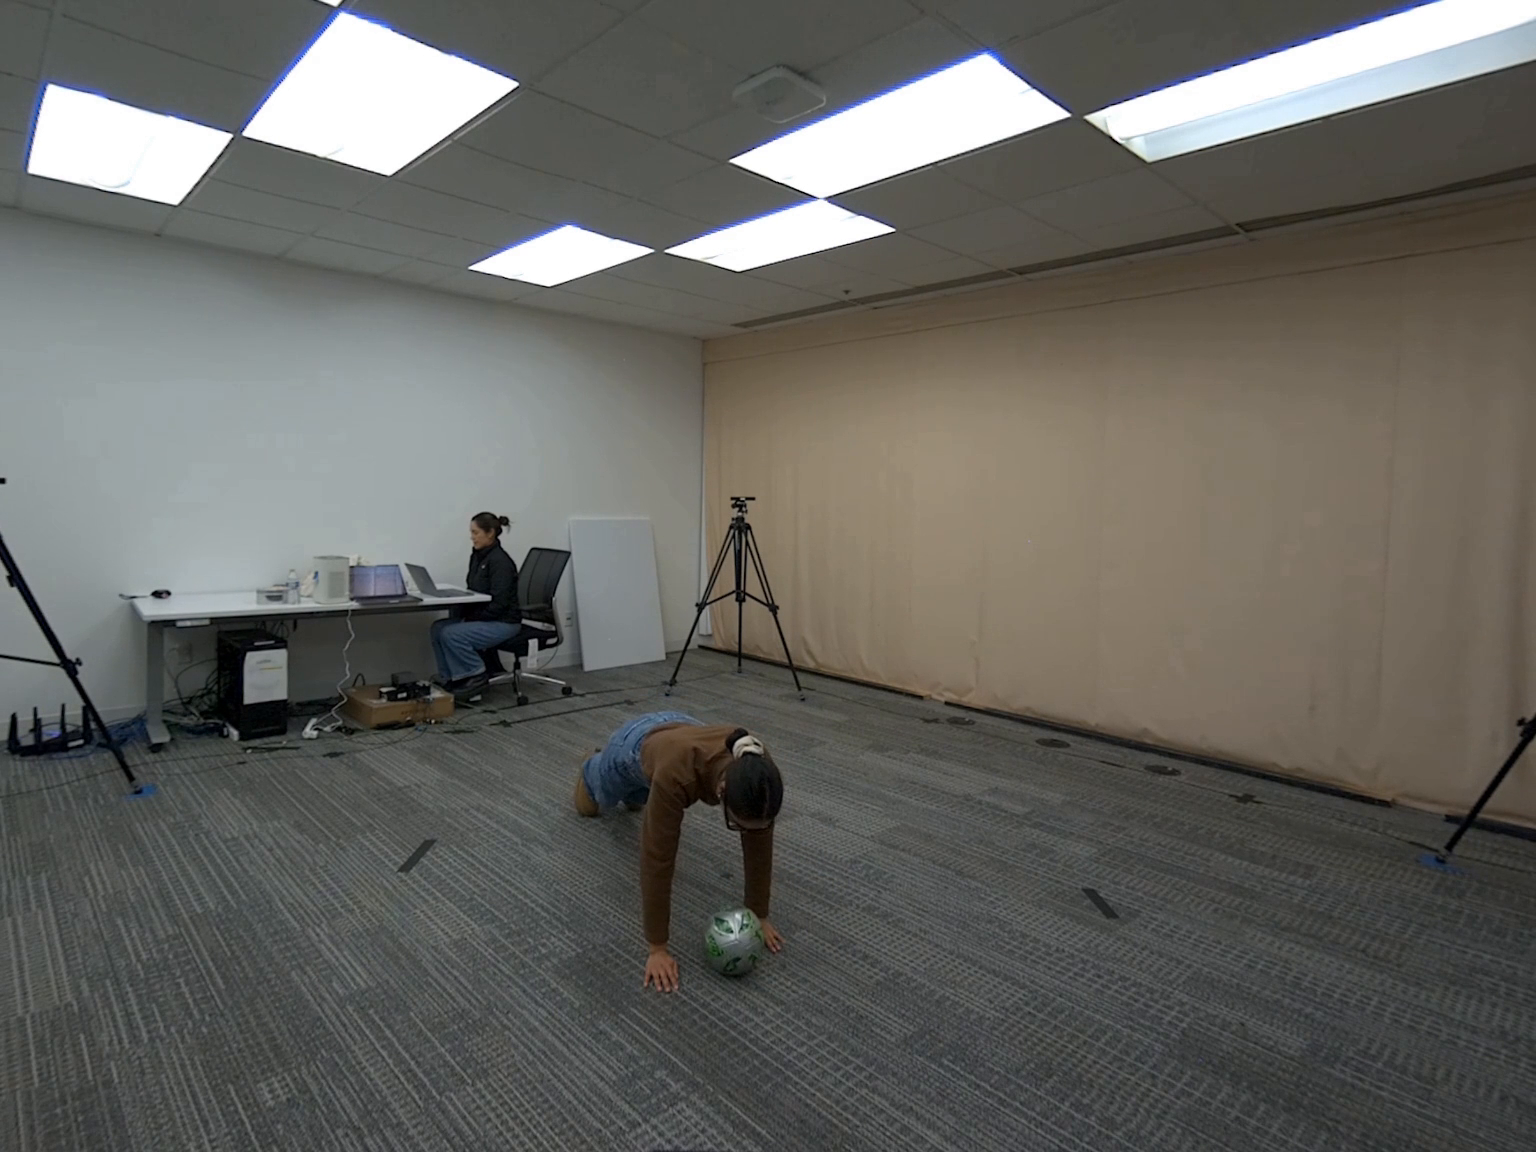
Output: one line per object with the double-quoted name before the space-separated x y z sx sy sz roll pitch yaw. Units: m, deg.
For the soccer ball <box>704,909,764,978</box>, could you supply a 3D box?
"soccer ball" -0.110 1.077 2.468 0.187 0.187 0.188 1 4 -1
